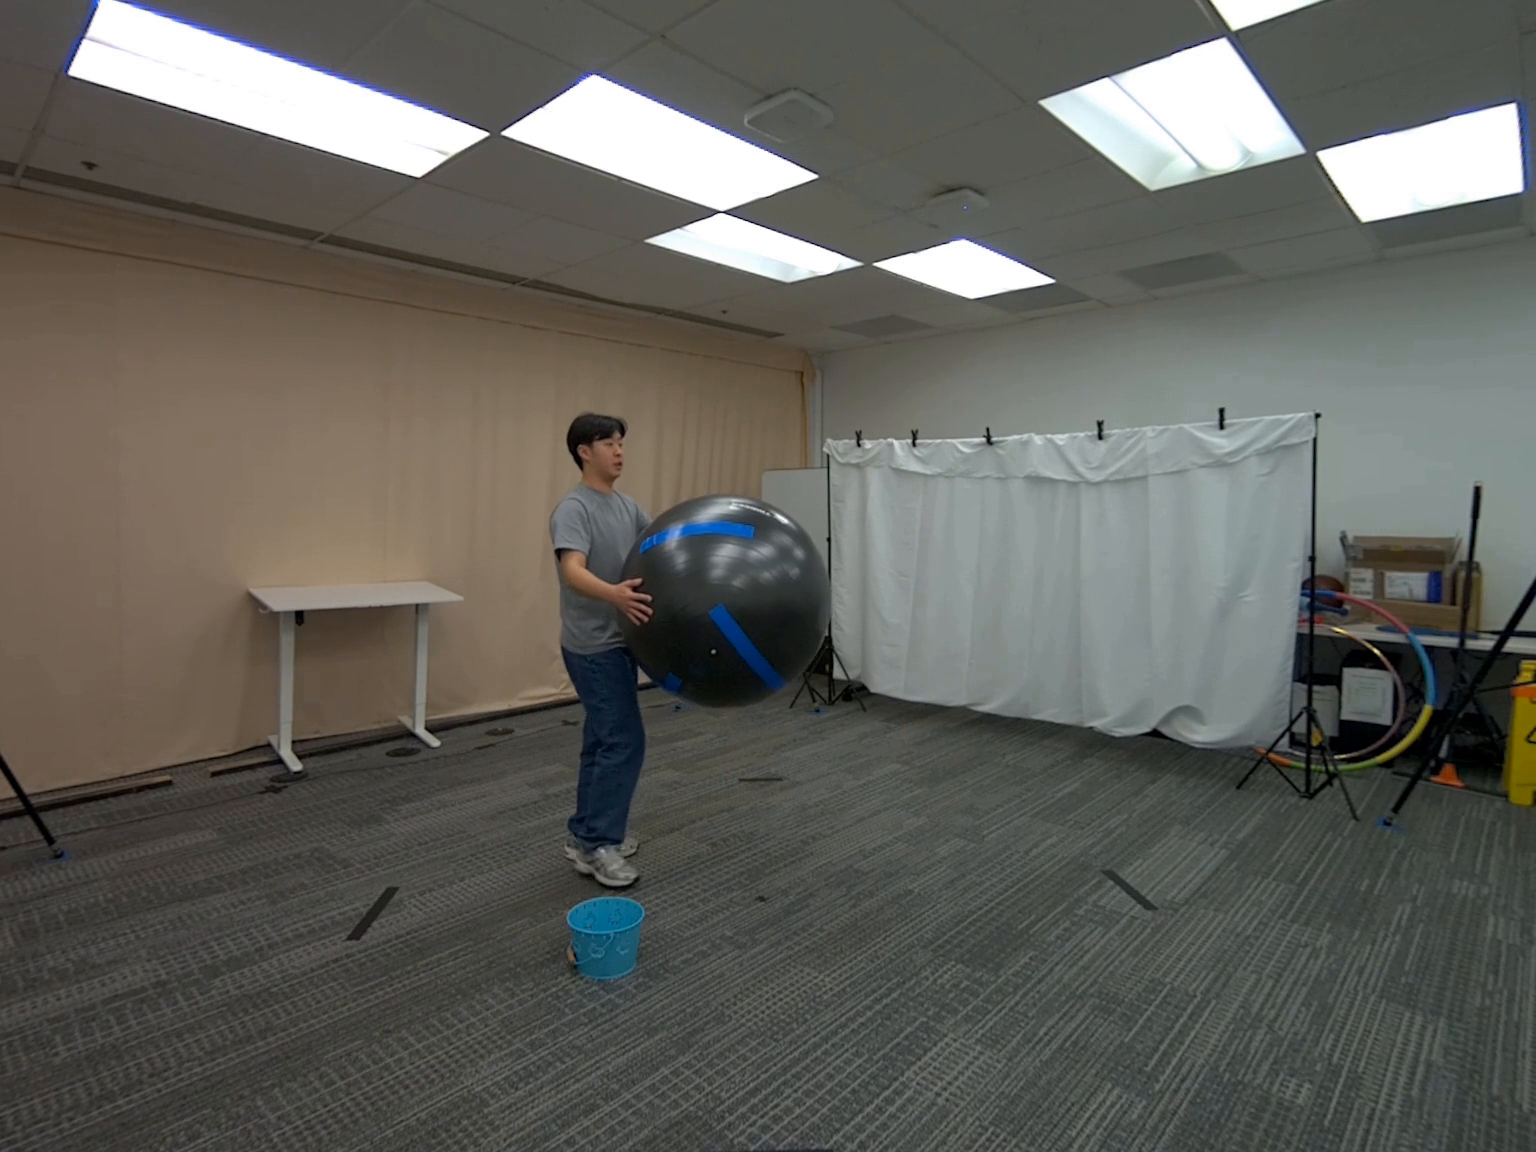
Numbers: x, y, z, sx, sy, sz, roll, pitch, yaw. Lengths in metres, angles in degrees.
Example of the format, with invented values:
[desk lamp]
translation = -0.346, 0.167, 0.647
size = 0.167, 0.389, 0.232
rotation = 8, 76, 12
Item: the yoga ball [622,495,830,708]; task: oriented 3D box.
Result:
[yoga ball]
translation = -0.157, 0.096, 3.010
size = 0.757, 0.756, 0.760
rotation = 0, 4, -2
